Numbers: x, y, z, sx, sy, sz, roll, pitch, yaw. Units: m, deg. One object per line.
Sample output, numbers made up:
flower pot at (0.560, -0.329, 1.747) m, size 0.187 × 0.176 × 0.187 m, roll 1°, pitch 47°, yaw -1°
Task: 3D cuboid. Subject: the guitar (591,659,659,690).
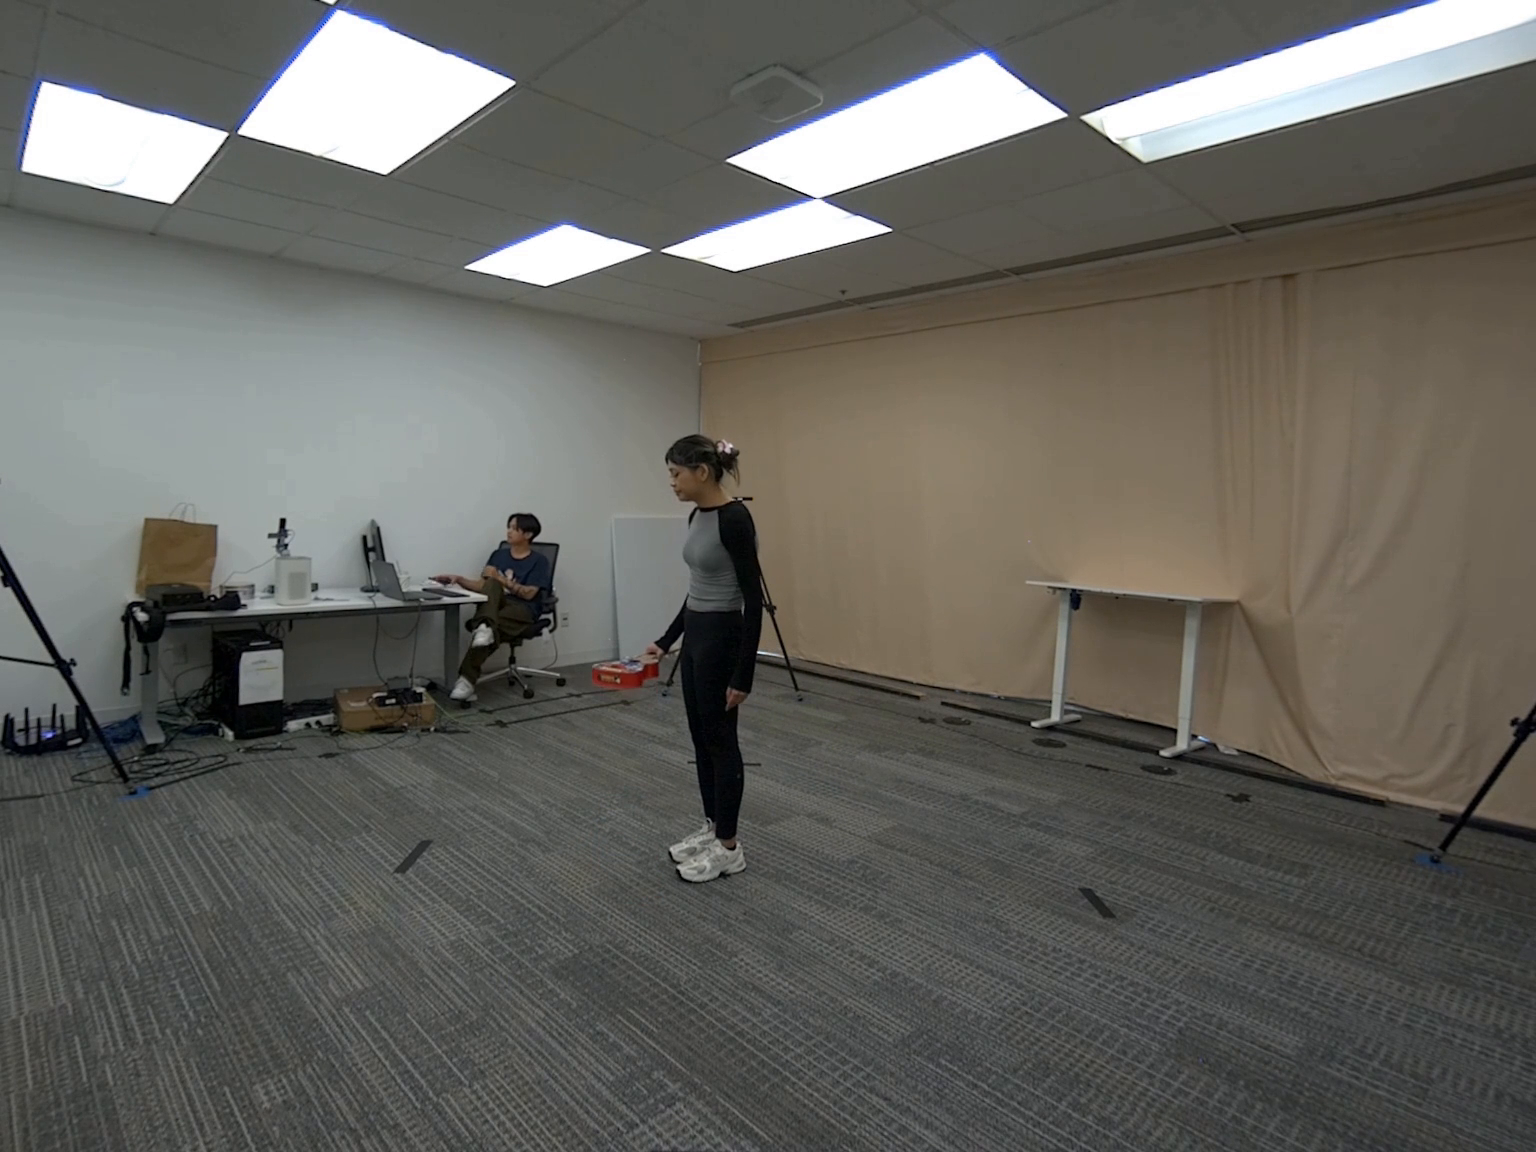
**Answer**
guitar at (-0.447, 0.343, 3.179) m, size 0.197 × 0.070 × 0.488 m, roll 5°, pitch 8°, yaw 33°
